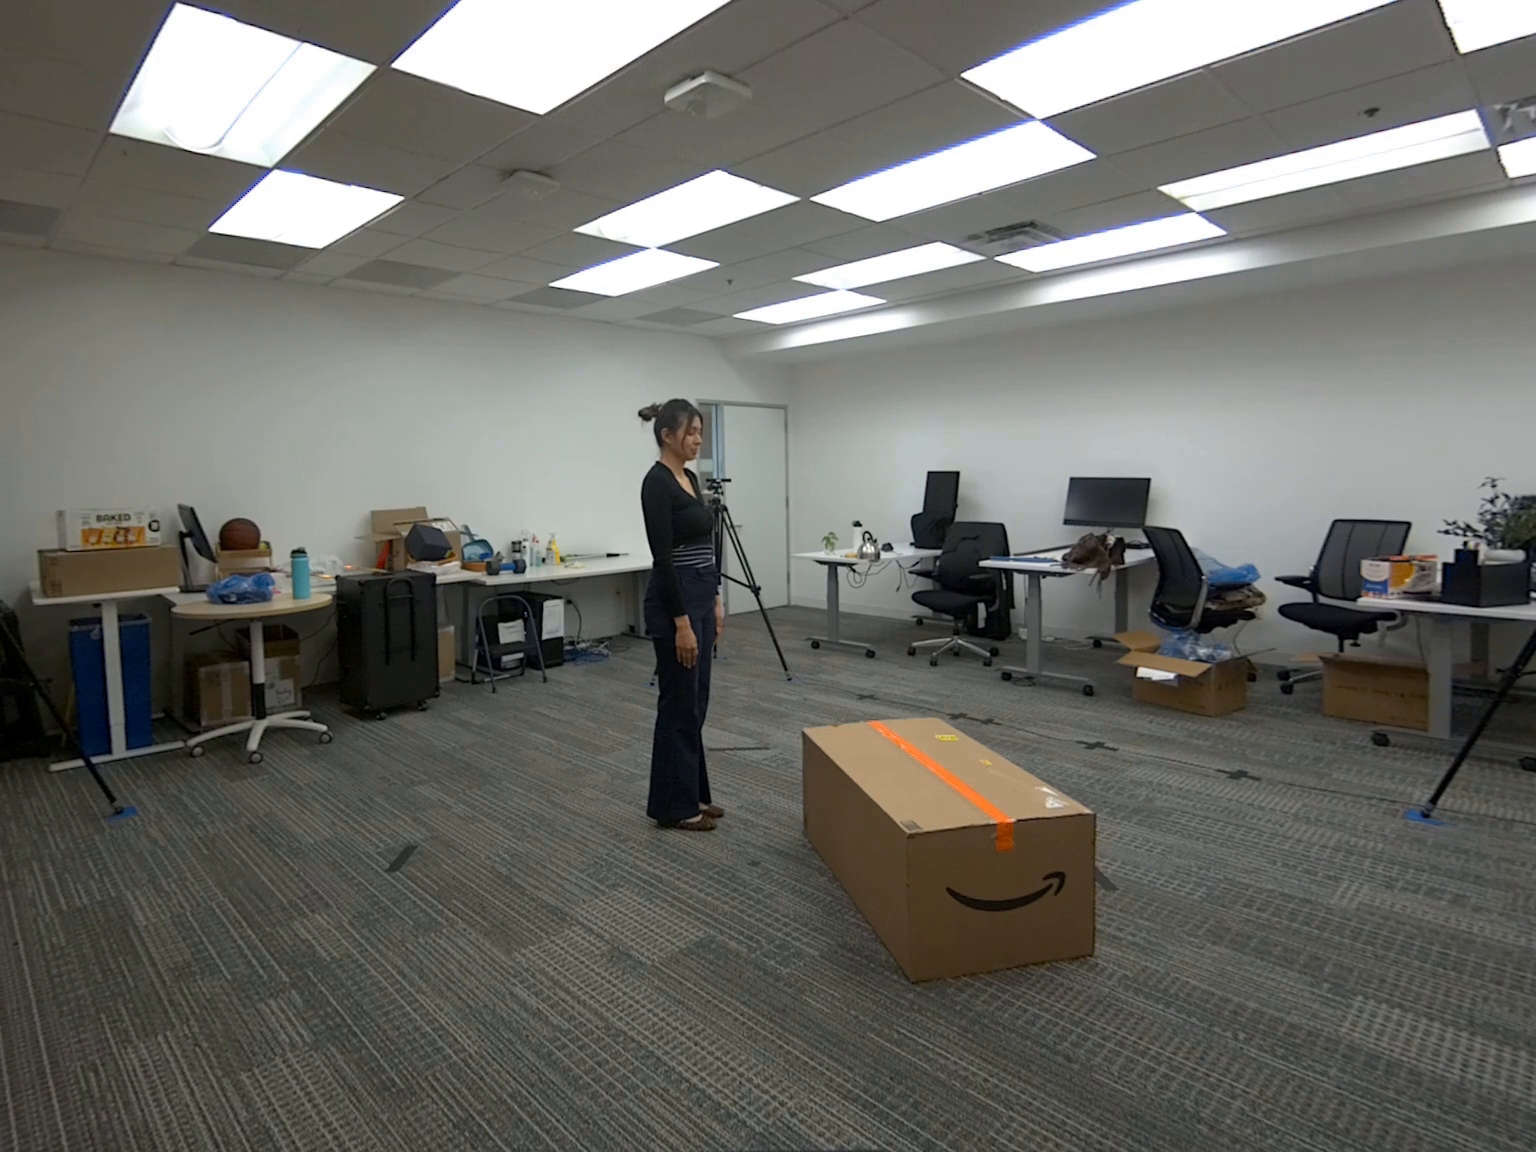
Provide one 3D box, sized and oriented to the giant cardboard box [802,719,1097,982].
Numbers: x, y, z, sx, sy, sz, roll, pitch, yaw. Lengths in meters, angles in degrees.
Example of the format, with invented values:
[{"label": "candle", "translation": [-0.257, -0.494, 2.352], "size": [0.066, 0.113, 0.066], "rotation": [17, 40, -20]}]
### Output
[{"label": "giant cardboard box", "translation": [0.541, 0.842, 2.890], "size": [0.571, 0.424, 1.042], "rotation": [-1, 6, -14]}]
